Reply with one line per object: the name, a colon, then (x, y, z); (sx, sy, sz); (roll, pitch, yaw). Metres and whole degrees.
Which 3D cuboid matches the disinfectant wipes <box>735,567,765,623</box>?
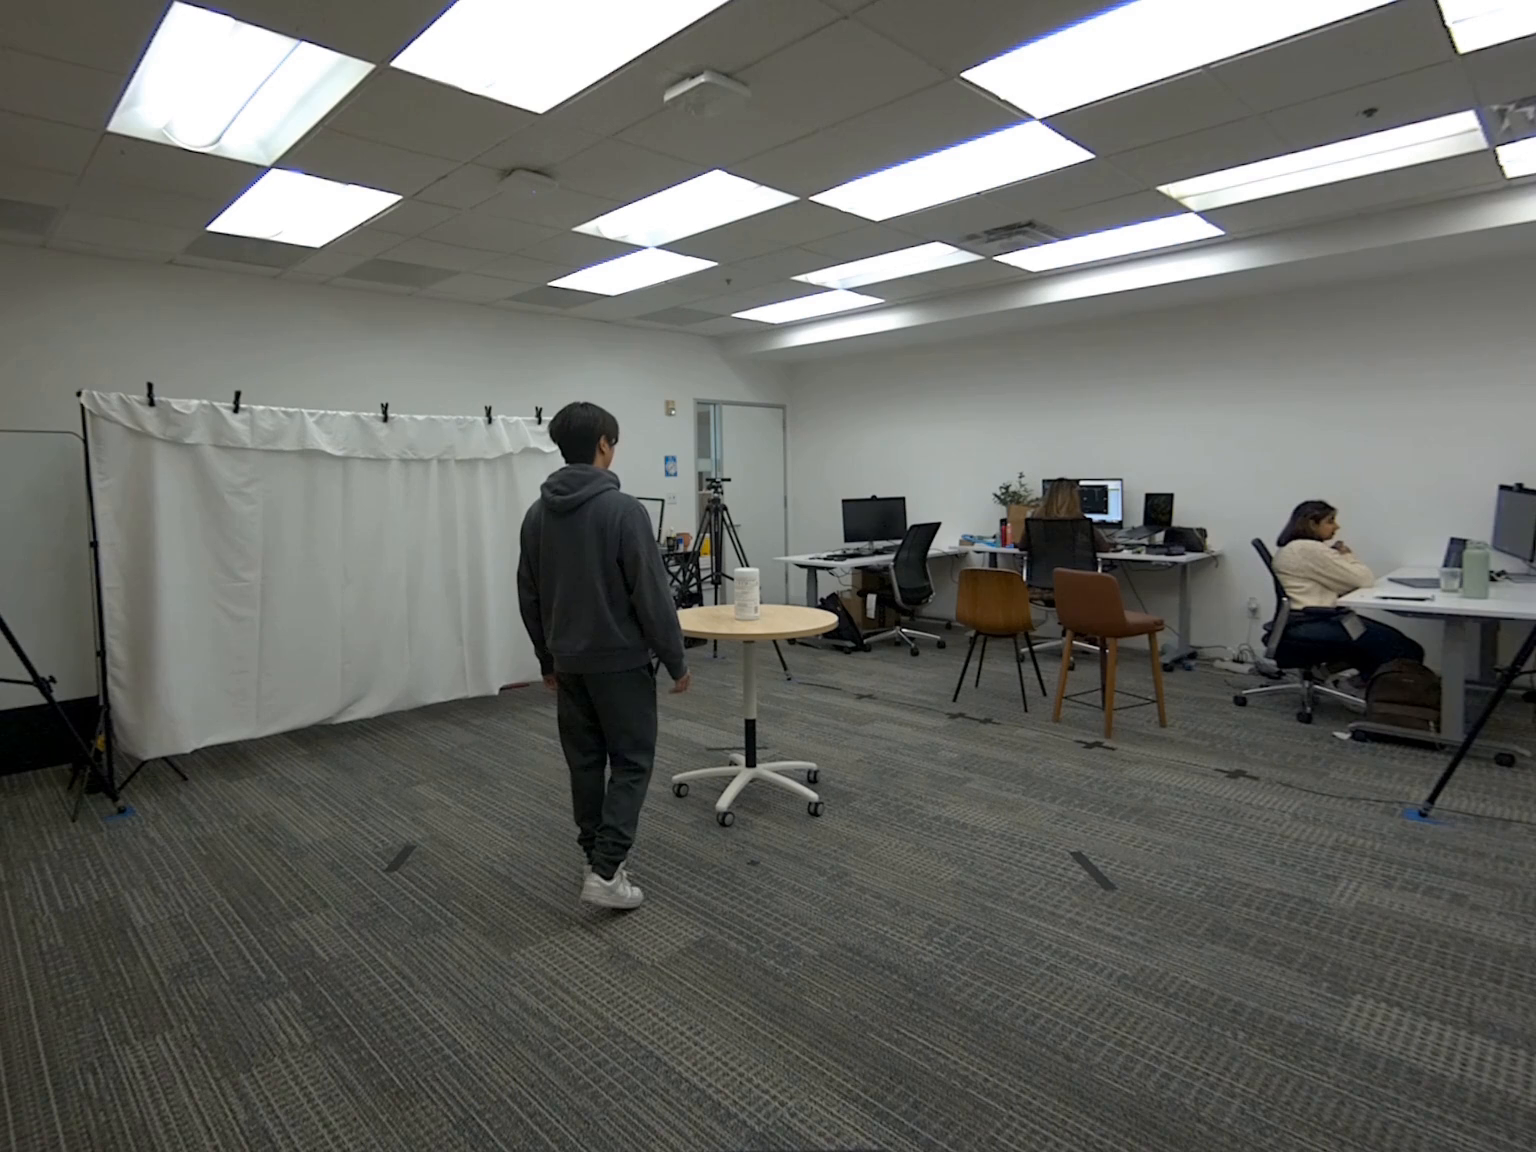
disinfectant wipes: (-0.080, 0.077, 3.658); (0.118, 0.217, 0.118); (0, 4, -2)
